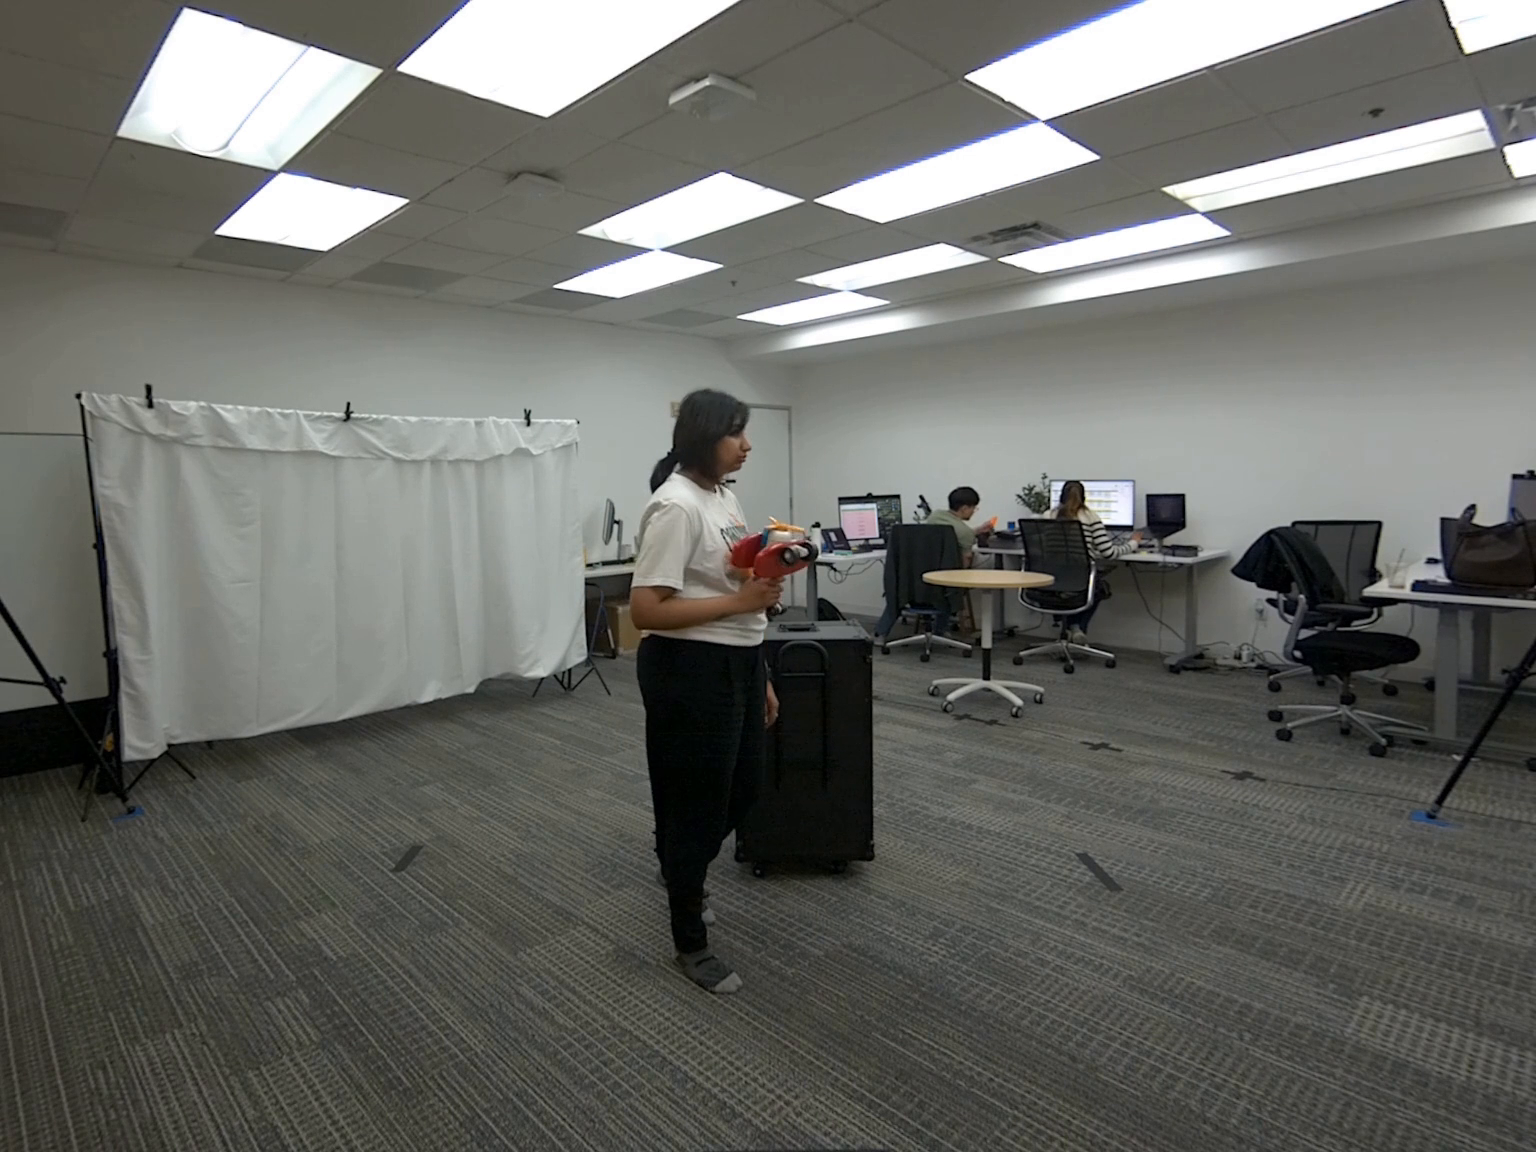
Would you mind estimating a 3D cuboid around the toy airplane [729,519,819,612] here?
[{"bbox_3d":[0.009,-0.020,2.301,0.162,0.259,0.243,38,1,28],"label":"toy airplane"}]
